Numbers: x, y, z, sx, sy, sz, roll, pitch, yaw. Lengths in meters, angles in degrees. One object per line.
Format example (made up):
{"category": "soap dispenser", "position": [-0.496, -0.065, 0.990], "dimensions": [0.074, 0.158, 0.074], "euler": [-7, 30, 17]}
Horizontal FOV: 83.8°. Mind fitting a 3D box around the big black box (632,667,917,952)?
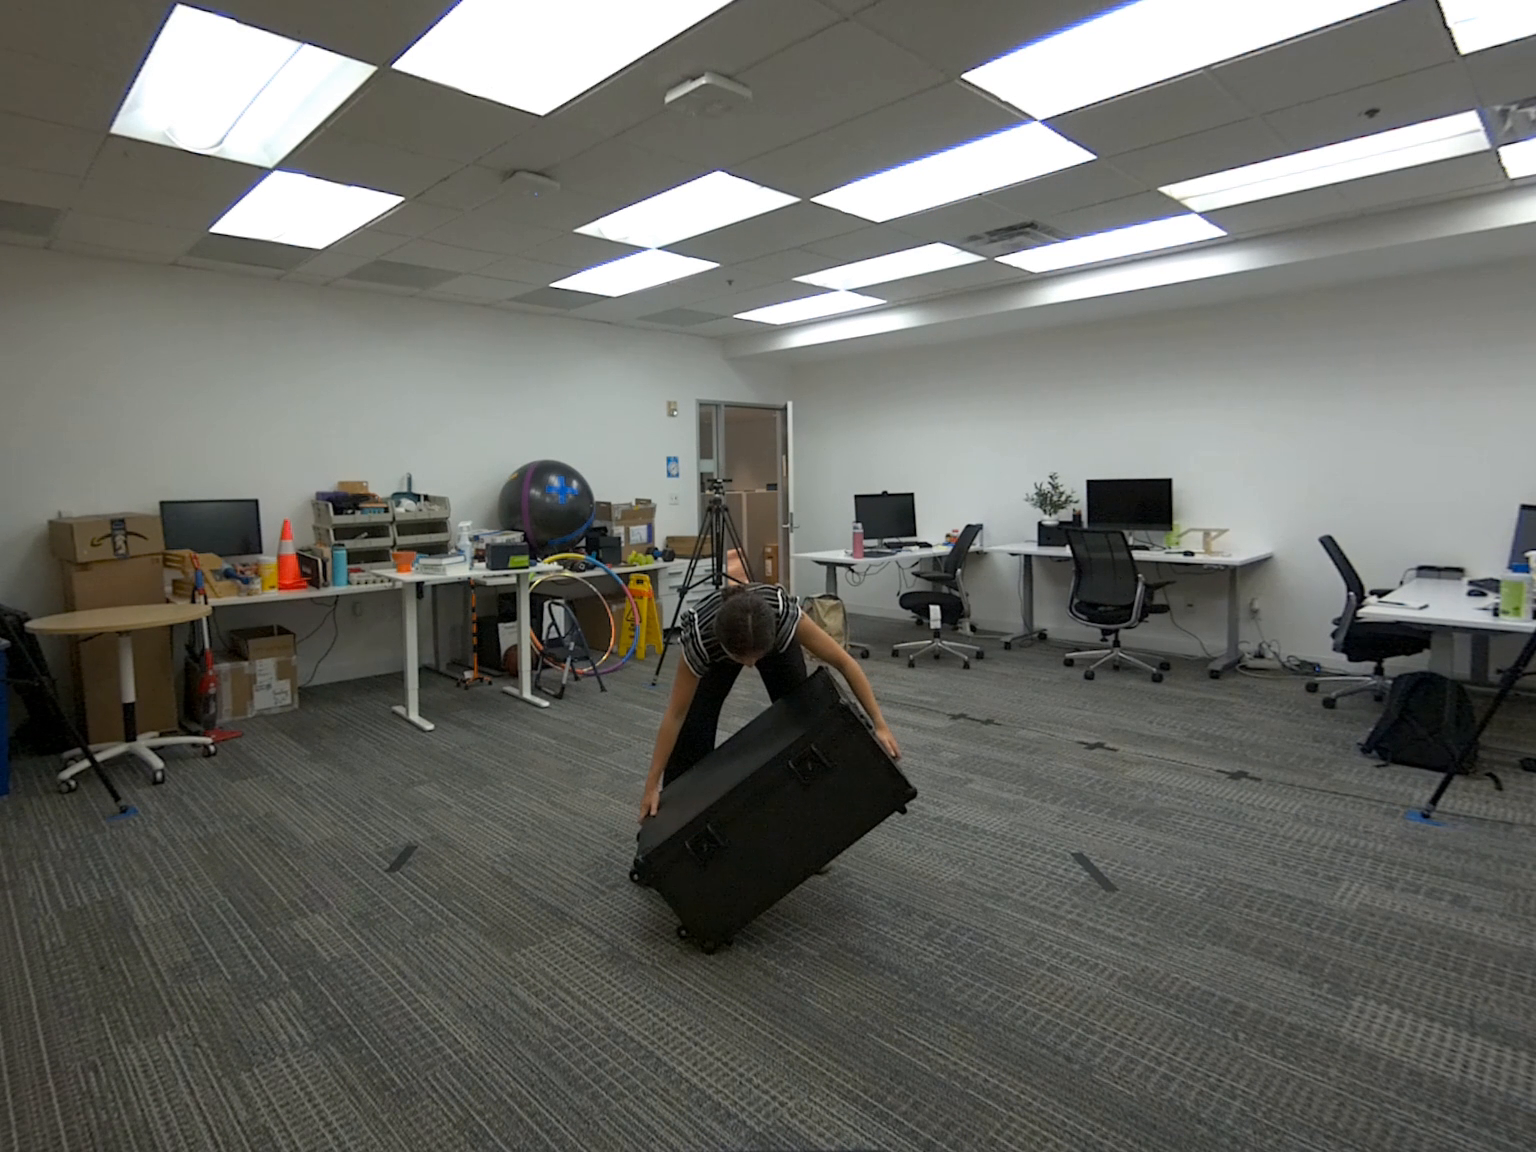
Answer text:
{"category": "big black box", "position": [-0.005, 0.739, 2.728], "dimensions": [0.861, 0.394, 0.525], "euler": [-38, 6, 1]}
